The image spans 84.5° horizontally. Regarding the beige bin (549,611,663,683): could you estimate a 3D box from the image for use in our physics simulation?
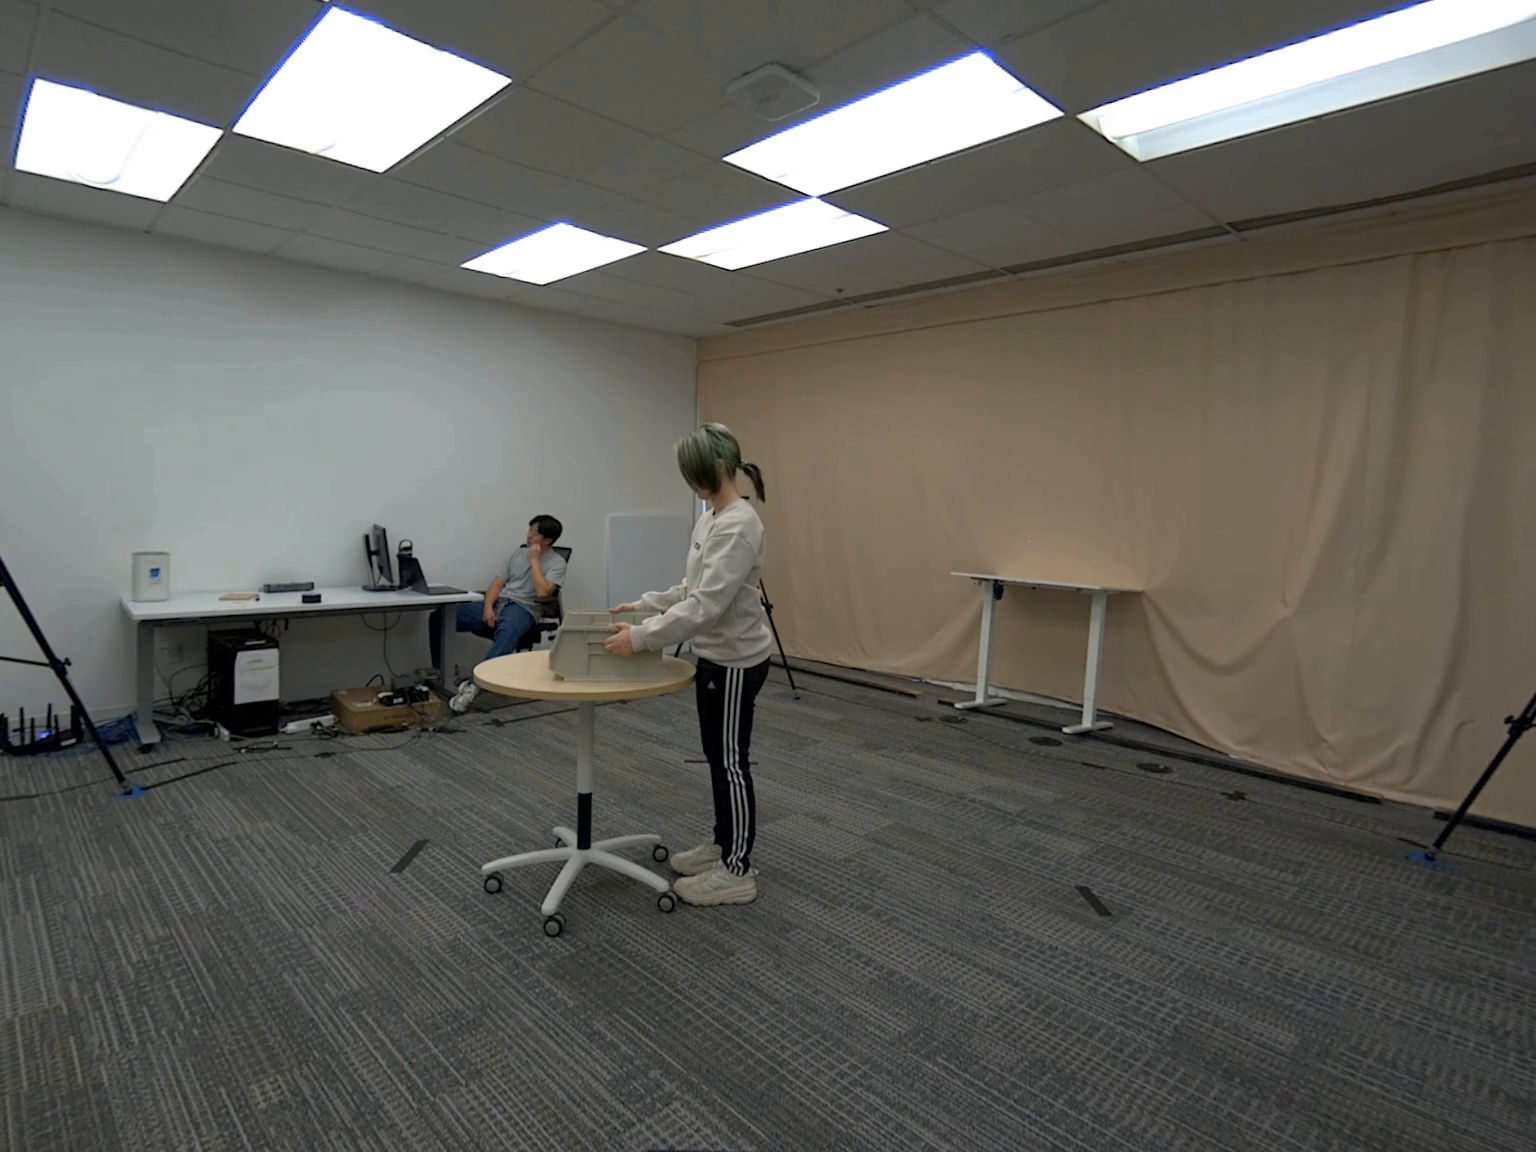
[{"bbox_3d":[-0.563,0.236,2.940,0.374,0.188,0.426,1,4,-10],"label":"beige bin"}]
